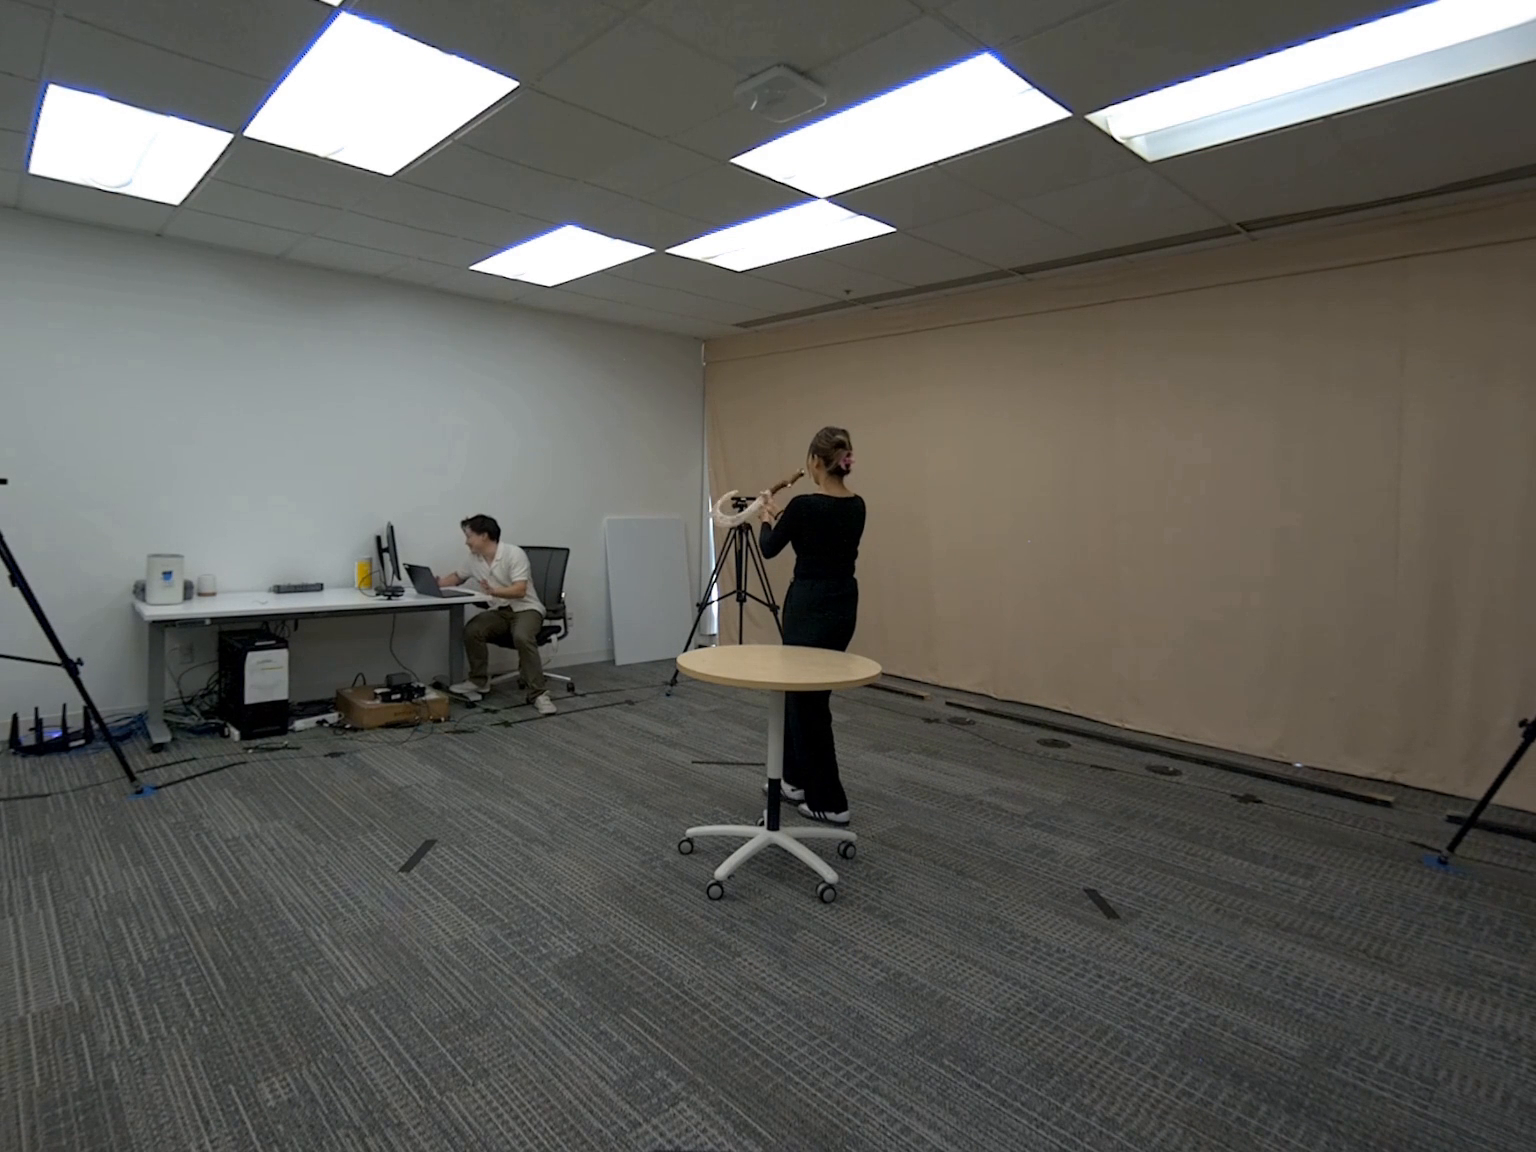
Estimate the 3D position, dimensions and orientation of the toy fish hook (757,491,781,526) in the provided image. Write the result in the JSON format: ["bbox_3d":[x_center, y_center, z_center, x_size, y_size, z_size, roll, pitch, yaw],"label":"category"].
[{"bbox_3d":[-0.054,-0.394,4.061,0.505,0.047,0.232,-34,52,-9],"label":"toy fish hook"}]
